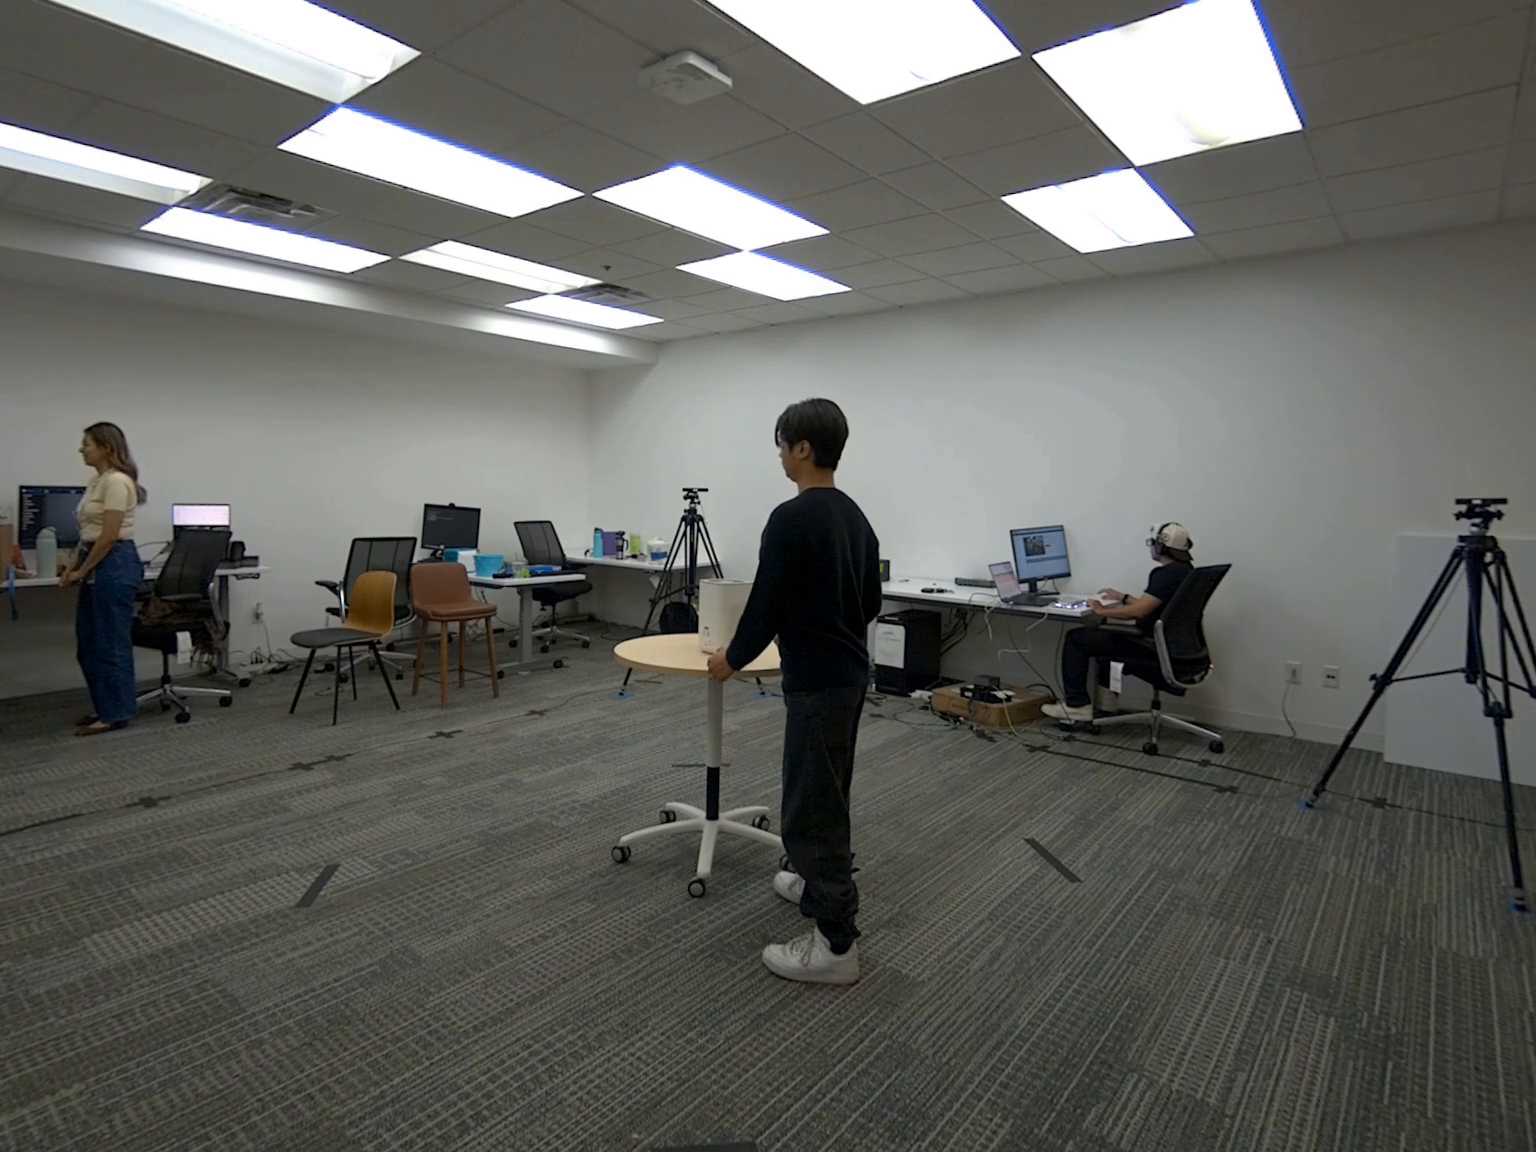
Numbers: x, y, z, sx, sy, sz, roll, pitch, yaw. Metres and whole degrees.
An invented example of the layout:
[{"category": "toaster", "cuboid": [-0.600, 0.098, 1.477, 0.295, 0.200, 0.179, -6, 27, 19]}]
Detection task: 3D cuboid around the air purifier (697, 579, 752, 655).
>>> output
[{"category": "air purifier", "cuboid": [-0.166, 0.146, 3.159, 0.166, 0.265, 0.177, 1, 2, -39]}]
